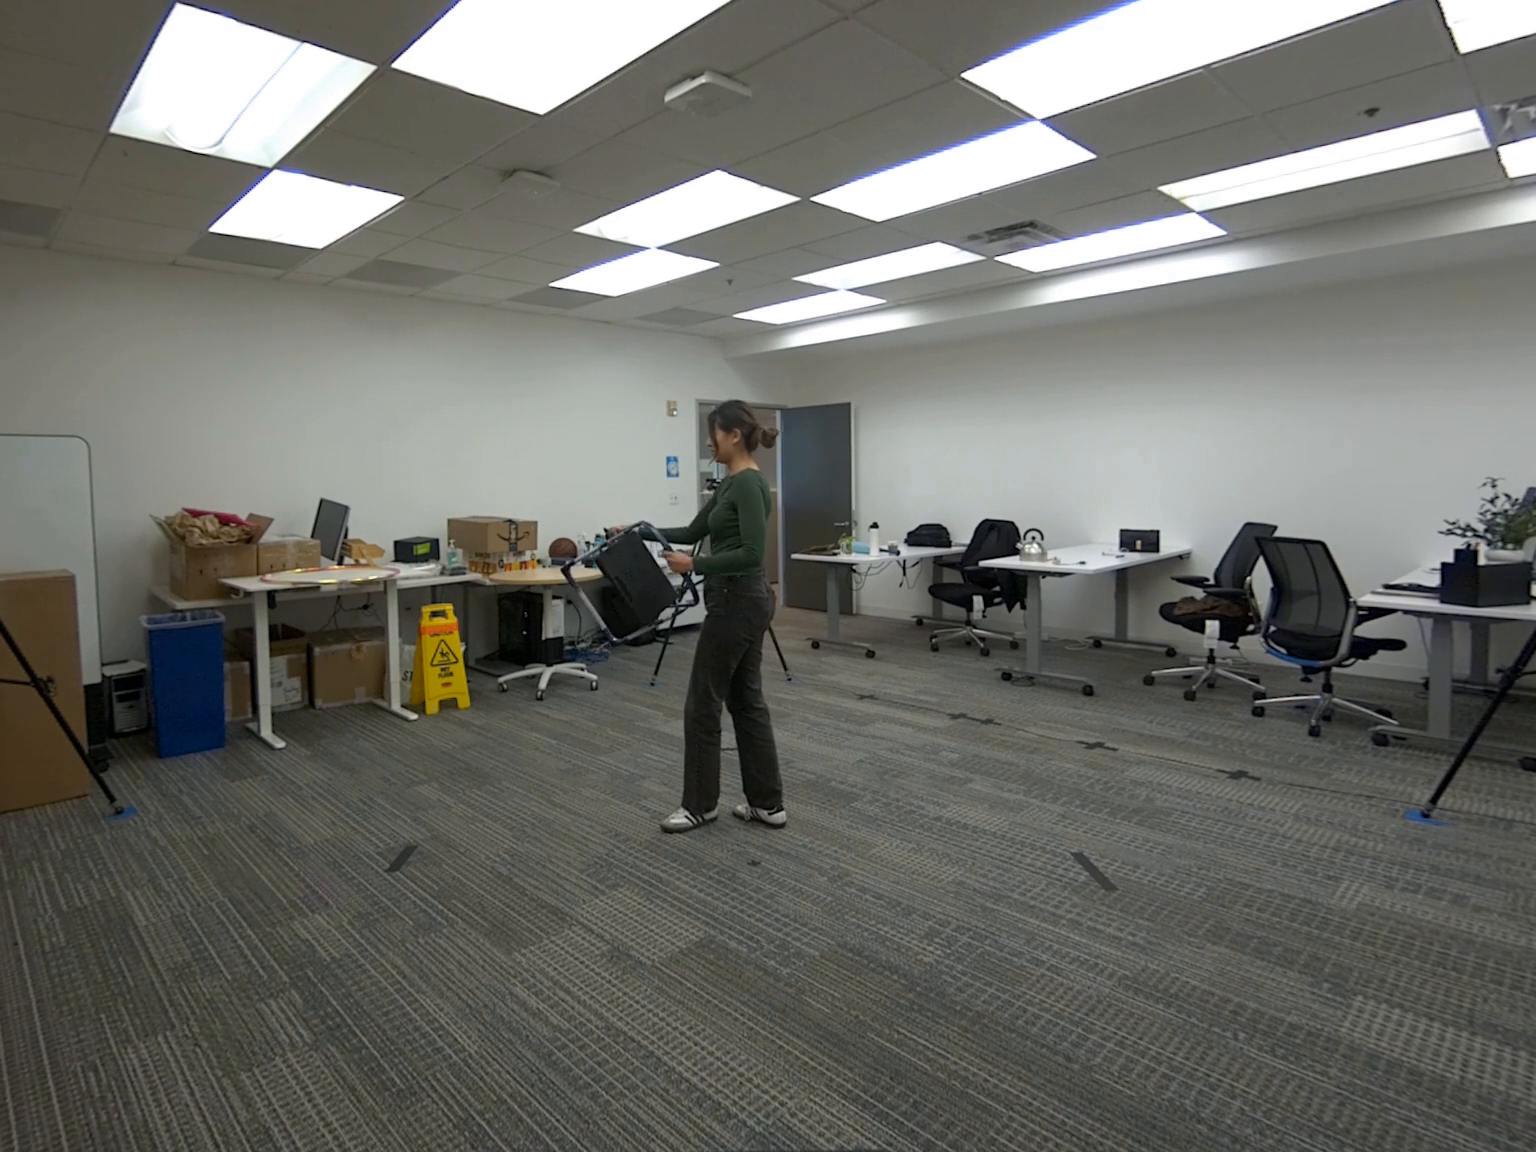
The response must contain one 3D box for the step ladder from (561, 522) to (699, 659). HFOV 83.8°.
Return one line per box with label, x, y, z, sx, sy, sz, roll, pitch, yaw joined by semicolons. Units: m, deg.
step ladder;-0.501;-0.020;3.558;0.616;0.426;0.348;-22;14;48
